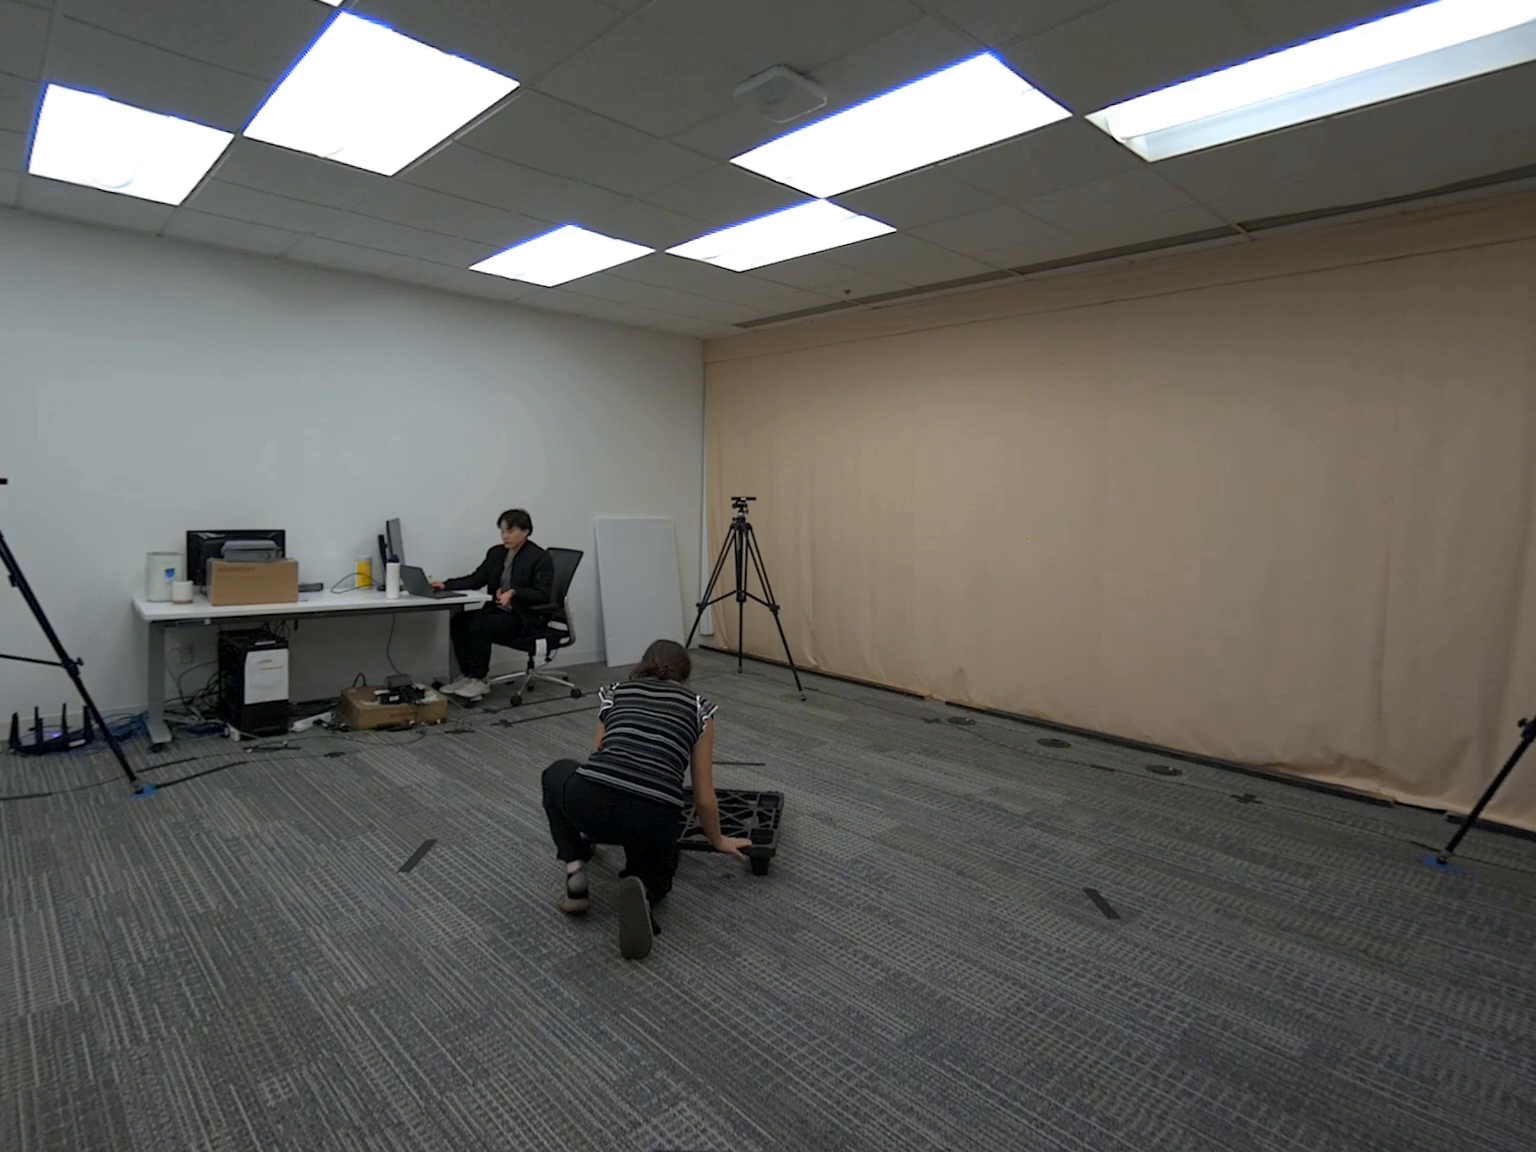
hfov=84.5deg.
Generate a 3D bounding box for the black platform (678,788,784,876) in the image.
[{"bbox_3d":[-0.351,1.011,3.377,0.810,0.143,0.603,2,5,6],"label":"black platform"}]
